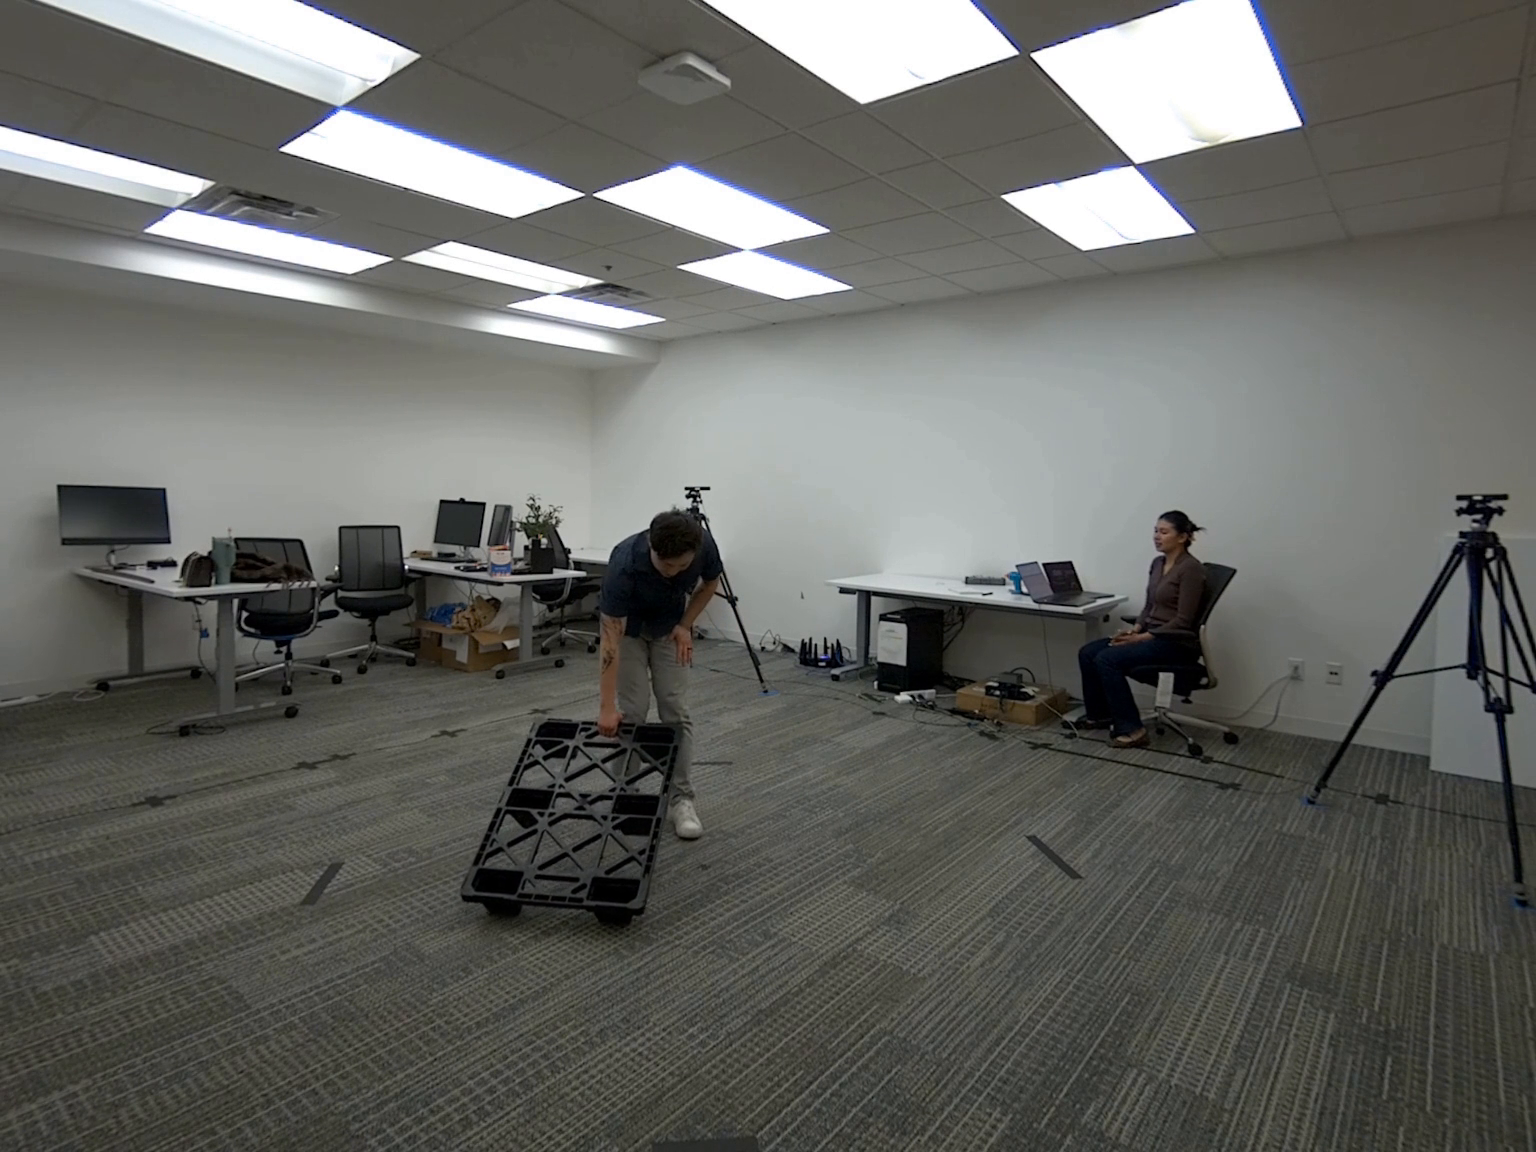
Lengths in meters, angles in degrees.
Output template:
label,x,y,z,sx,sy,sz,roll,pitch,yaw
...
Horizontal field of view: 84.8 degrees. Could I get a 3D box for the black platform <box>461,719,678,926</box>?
label,x,y,z,sx,sy,sz,roll,pitch,yaw
black platform,-0.659,0.837,3.009,0.610,0.139,0.822,-1,33,6
